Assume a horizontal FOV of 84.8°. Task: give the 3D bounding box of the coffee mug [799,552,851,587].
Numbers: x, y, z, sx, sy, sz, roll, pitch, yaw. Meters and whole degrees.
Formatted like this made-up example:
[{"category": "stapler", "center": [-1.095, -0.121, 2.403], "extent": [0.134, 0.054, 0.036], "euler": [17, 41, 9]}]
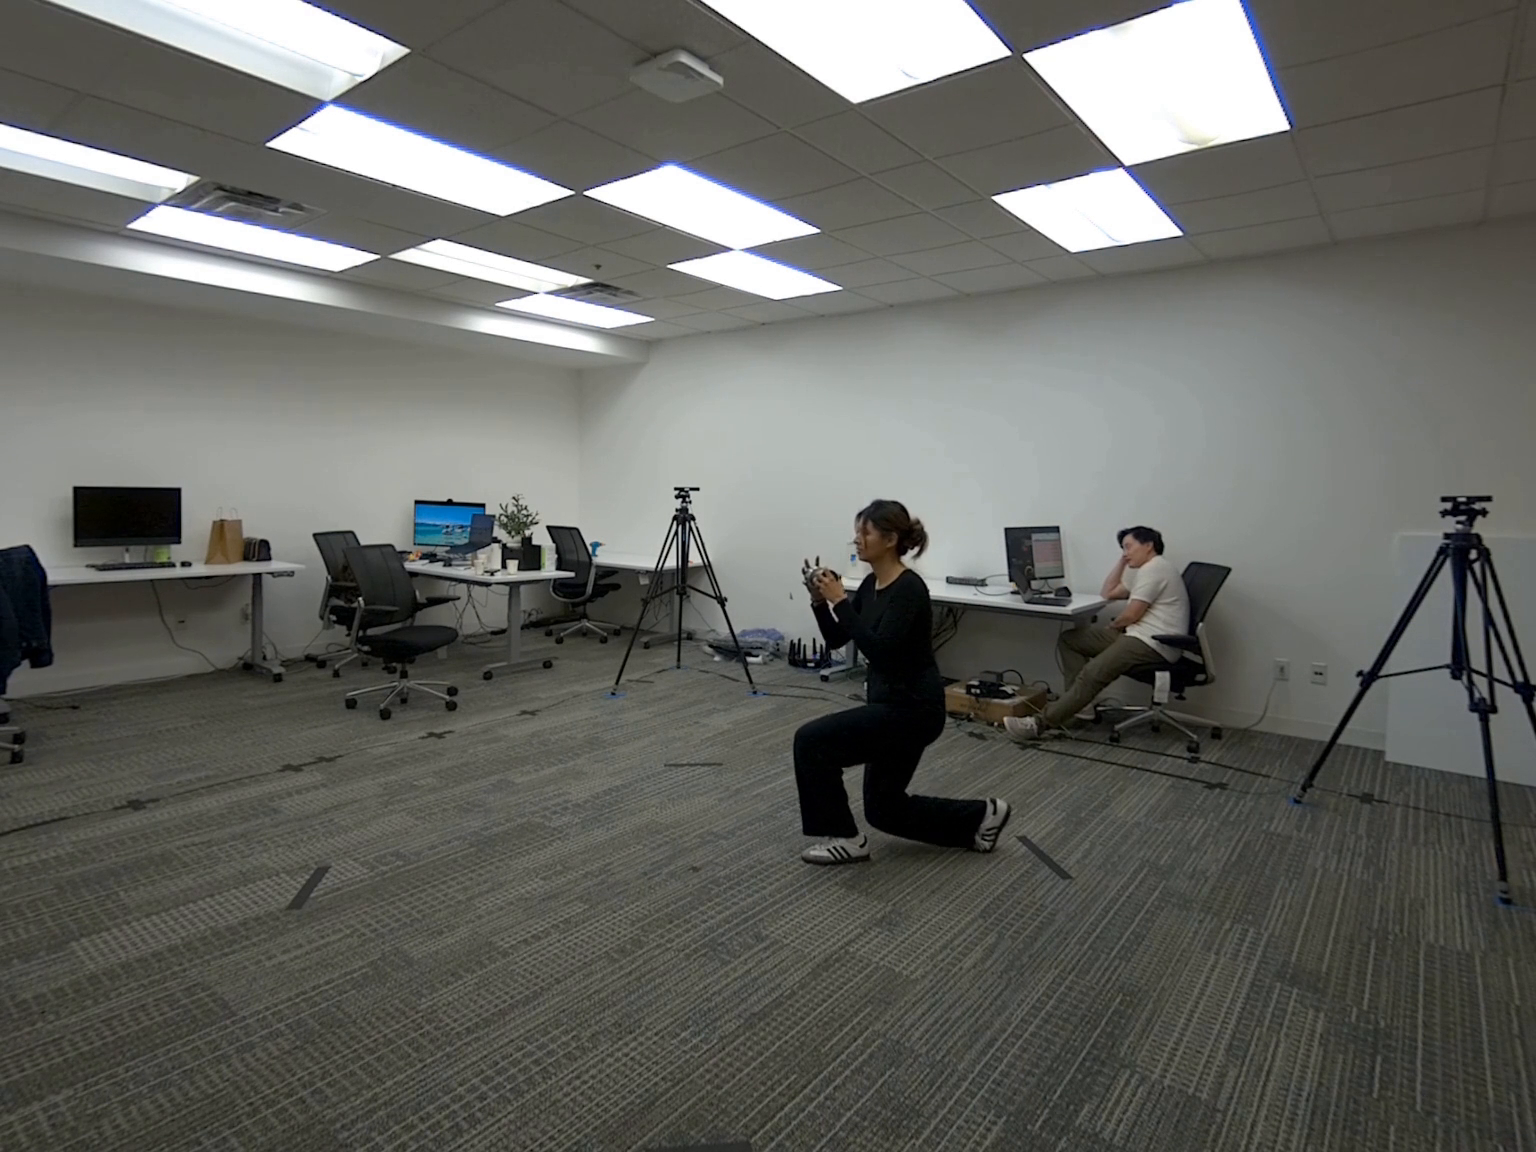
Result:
[{"category": "coffee mug", "center": [0.213, -0.015, 3.203], "extent": [0.121, 0.088, 0.203], "euler": [-25, -1, -11]}]
